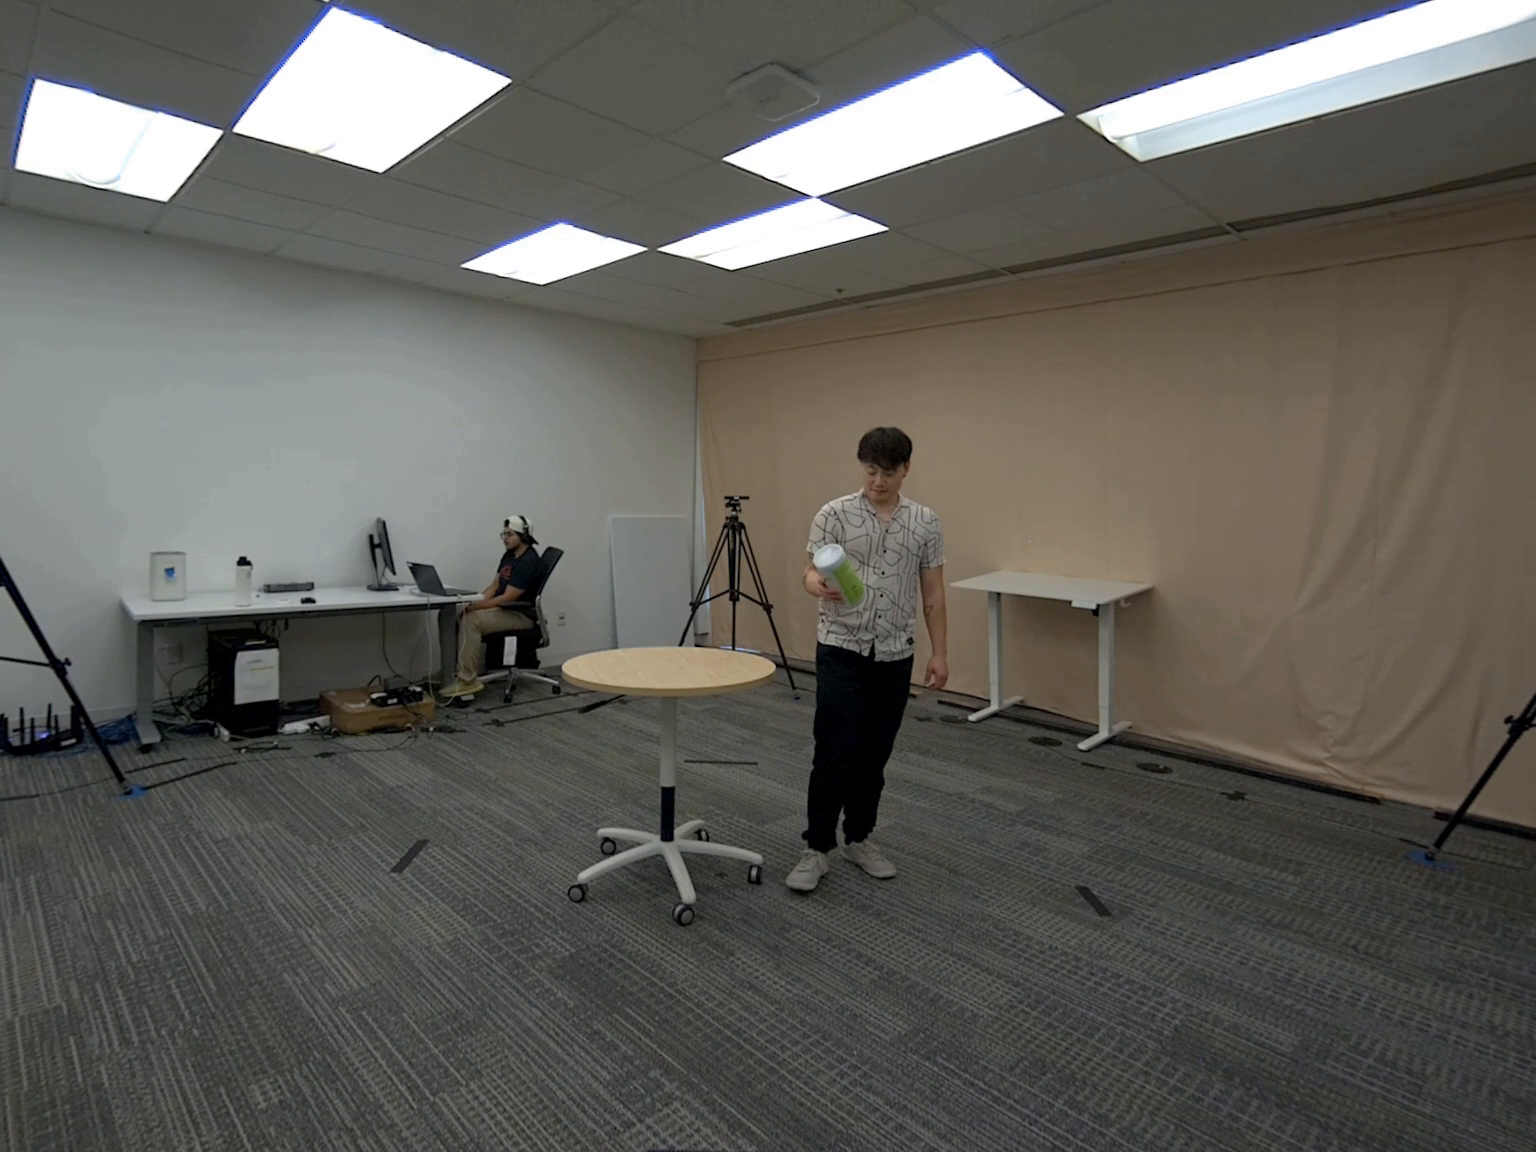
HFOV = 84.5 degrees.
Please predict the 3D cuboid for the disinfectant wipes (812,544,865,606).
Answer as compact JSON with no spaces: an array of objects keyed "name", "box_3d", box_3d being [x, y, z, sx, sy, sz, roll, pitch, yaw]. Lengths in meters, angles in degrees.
[{"name":"disinfectant wipes","box_3d":[0.231,0.001,2.834,0.118,0.211,0.120,-20,38,15]}]
